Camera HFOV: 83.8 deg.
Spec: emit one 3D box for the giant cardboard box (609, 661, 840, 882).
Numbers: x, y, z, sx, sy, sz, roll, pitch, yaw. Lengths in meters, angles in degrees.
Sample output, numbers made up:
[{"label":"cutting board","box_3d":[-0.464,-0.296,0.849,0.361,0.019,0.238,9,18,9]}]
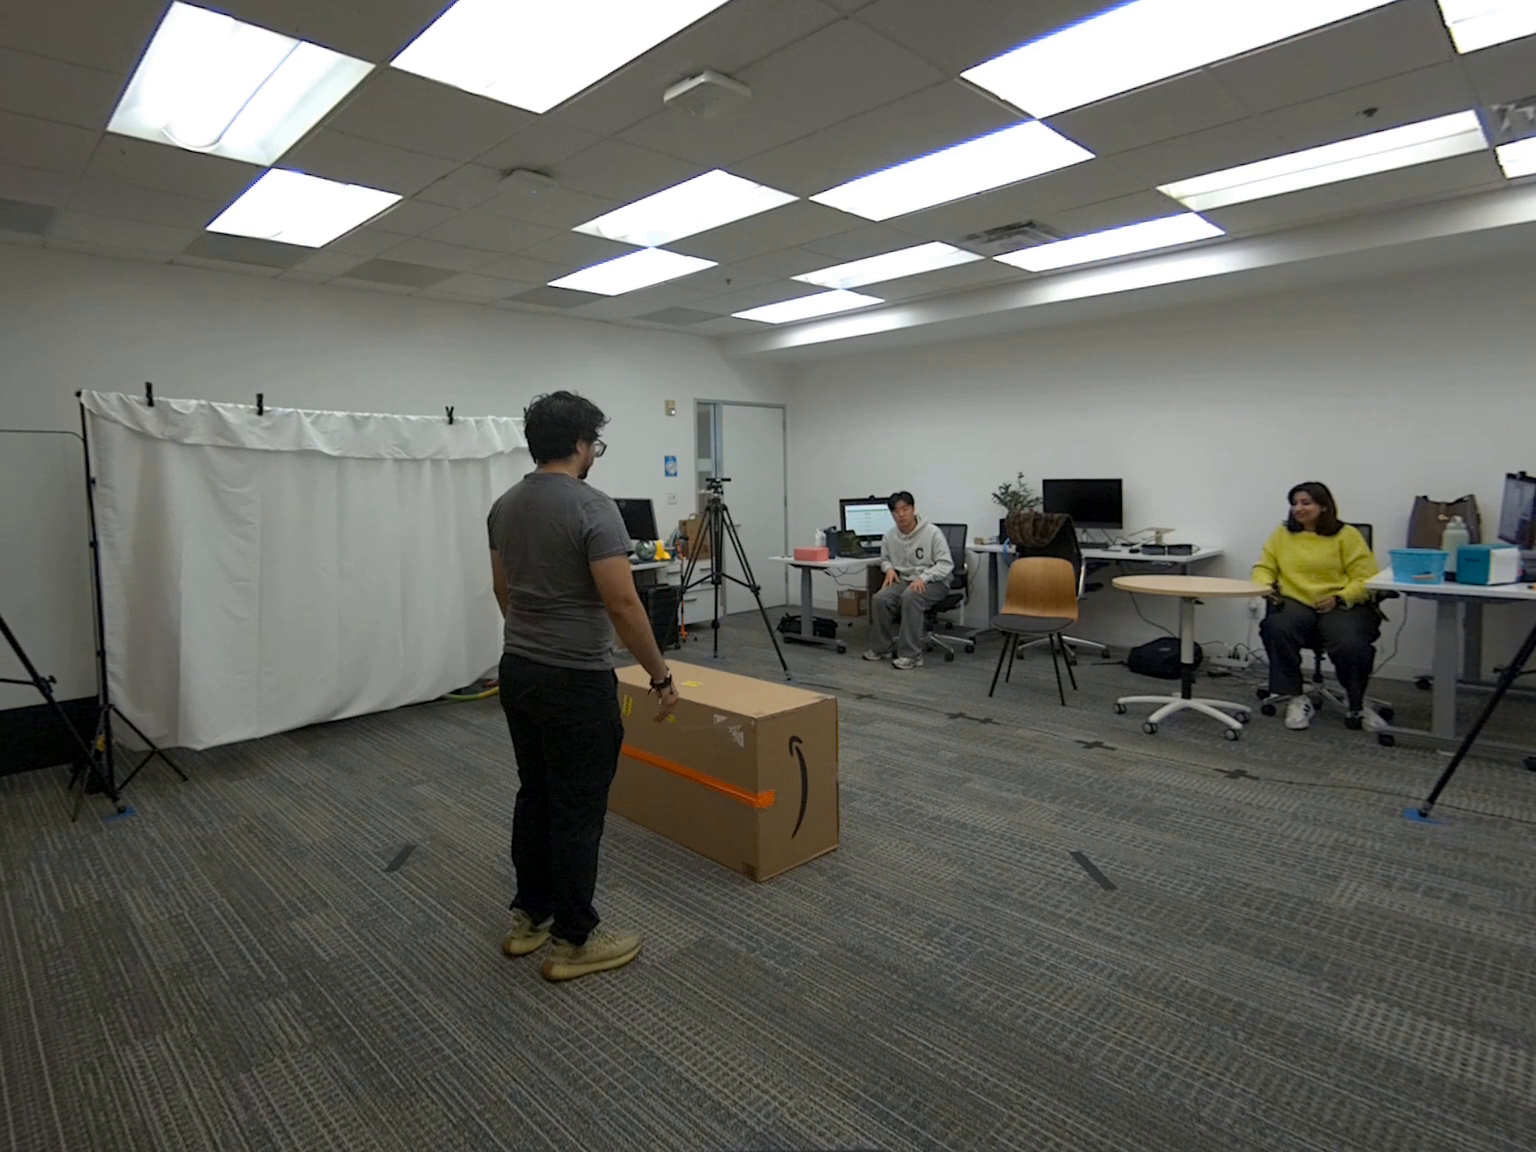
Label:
[{"label":"giant cardboard box","box_3d":[-0.243,0.721,3.446,0.415,0.575,1.057,-4,6,-42]}]
